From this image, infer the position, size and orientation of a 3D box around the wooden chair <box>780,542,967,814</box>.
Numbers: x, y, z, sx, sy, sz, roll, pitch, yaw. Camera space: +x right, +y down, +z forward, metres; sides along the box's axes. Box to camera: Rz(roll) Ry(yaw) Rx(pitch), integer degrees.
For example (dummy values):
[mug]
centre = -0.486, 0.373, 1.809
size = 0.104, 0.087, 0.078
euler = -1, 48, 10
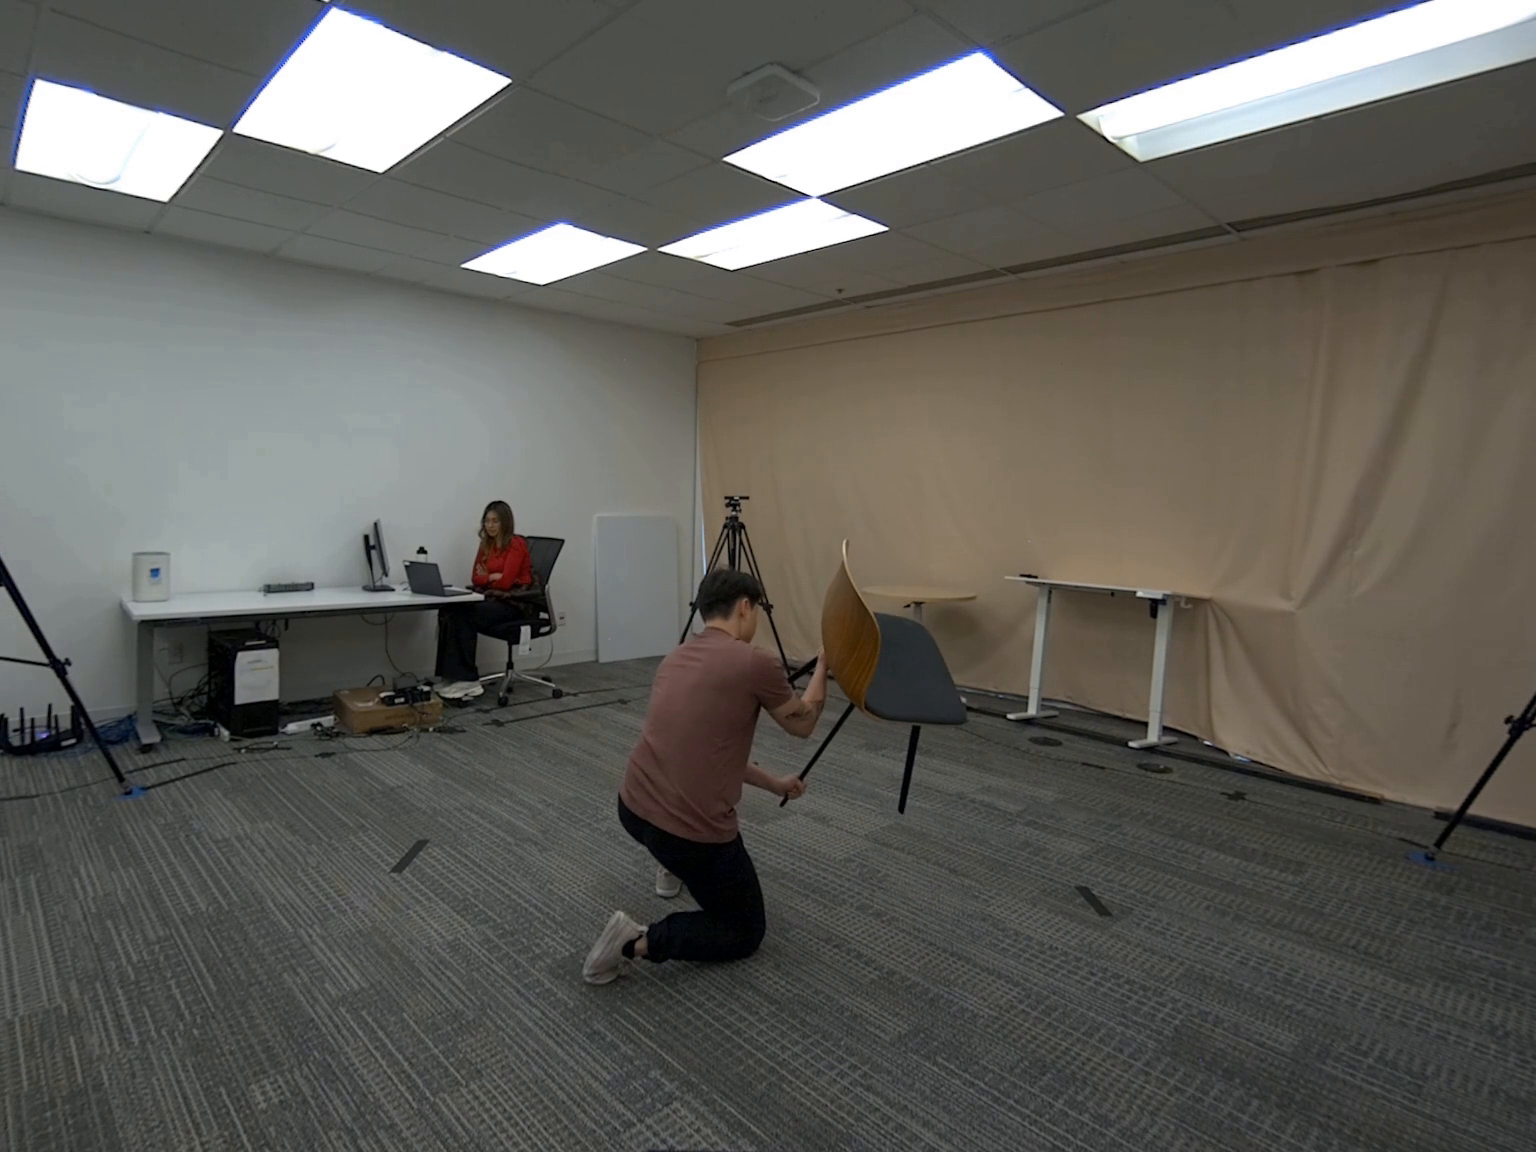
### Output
[wooden chair]
centre = 0.356, 0.328, 2.722
size = 0.516, 0.866, 0.491
euler = 6, 39, -16
